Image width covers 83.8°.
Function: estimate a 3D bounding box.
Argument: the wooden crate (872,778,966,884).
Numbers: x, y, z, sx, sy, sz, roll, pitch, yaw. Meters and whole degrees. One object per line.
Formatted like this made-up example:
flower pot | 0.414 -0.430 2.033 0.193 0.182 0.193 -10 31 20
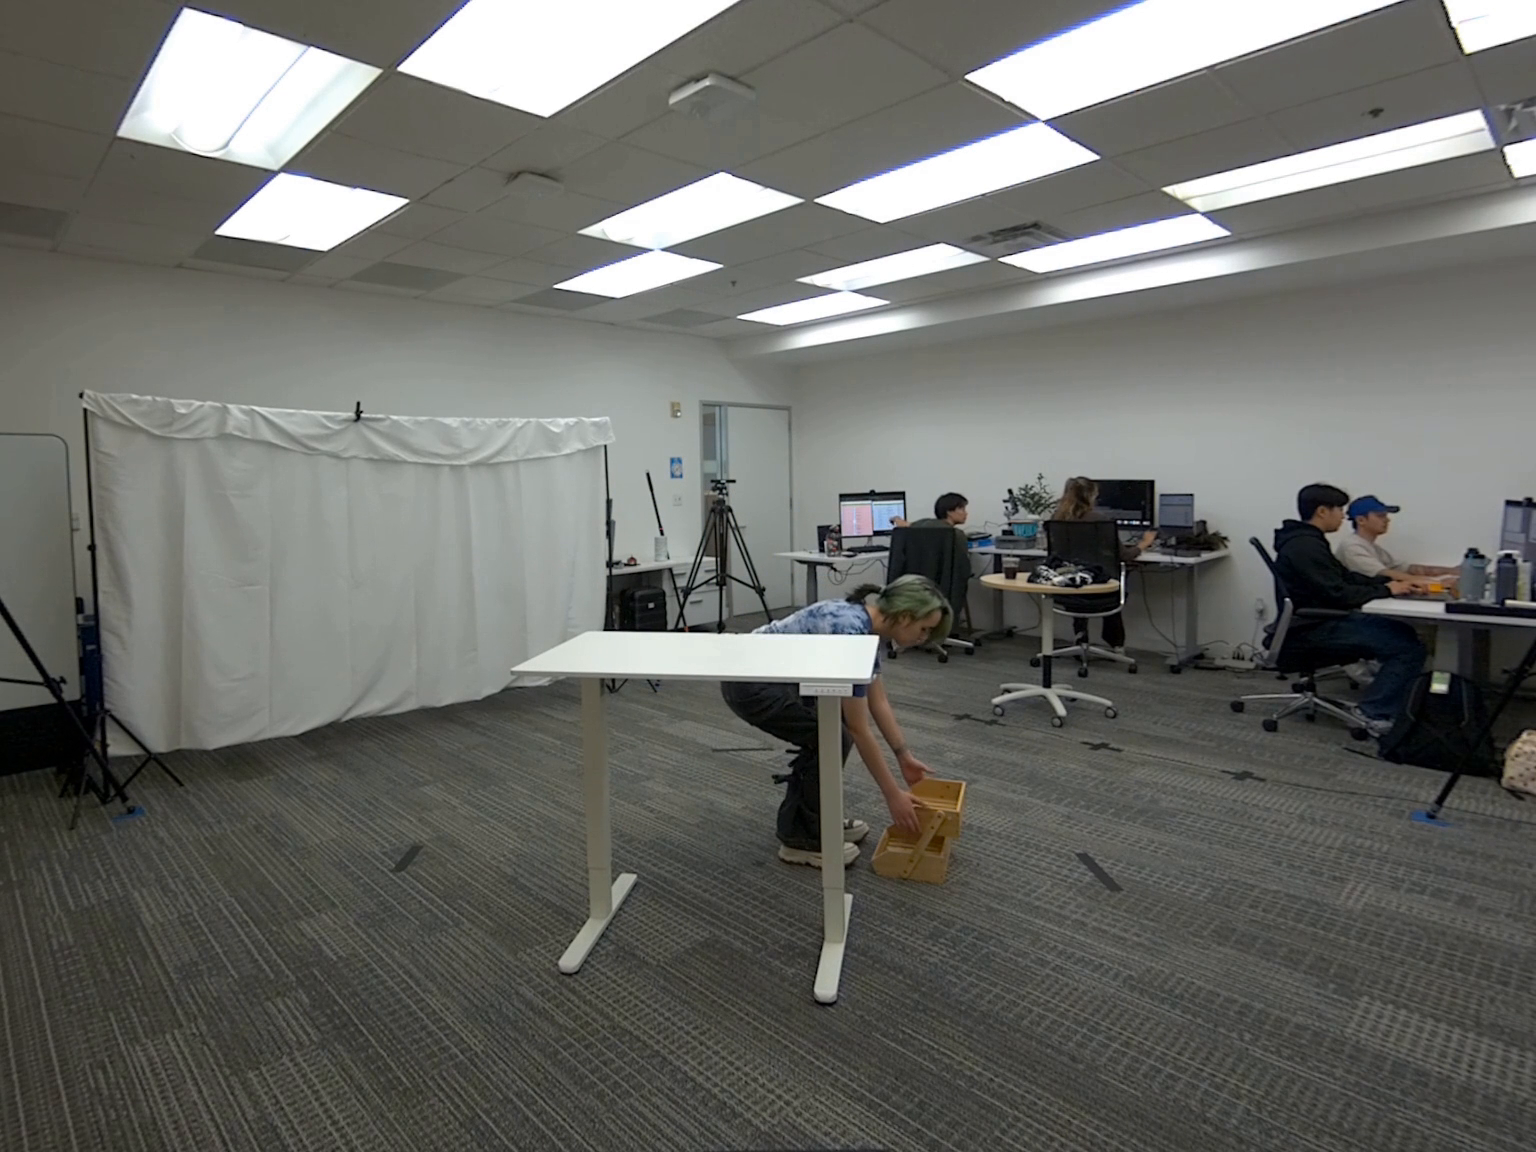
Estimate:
wooden crate | 0.541 0.903 3.093 0.307 0.272 0.320 1 5 18
